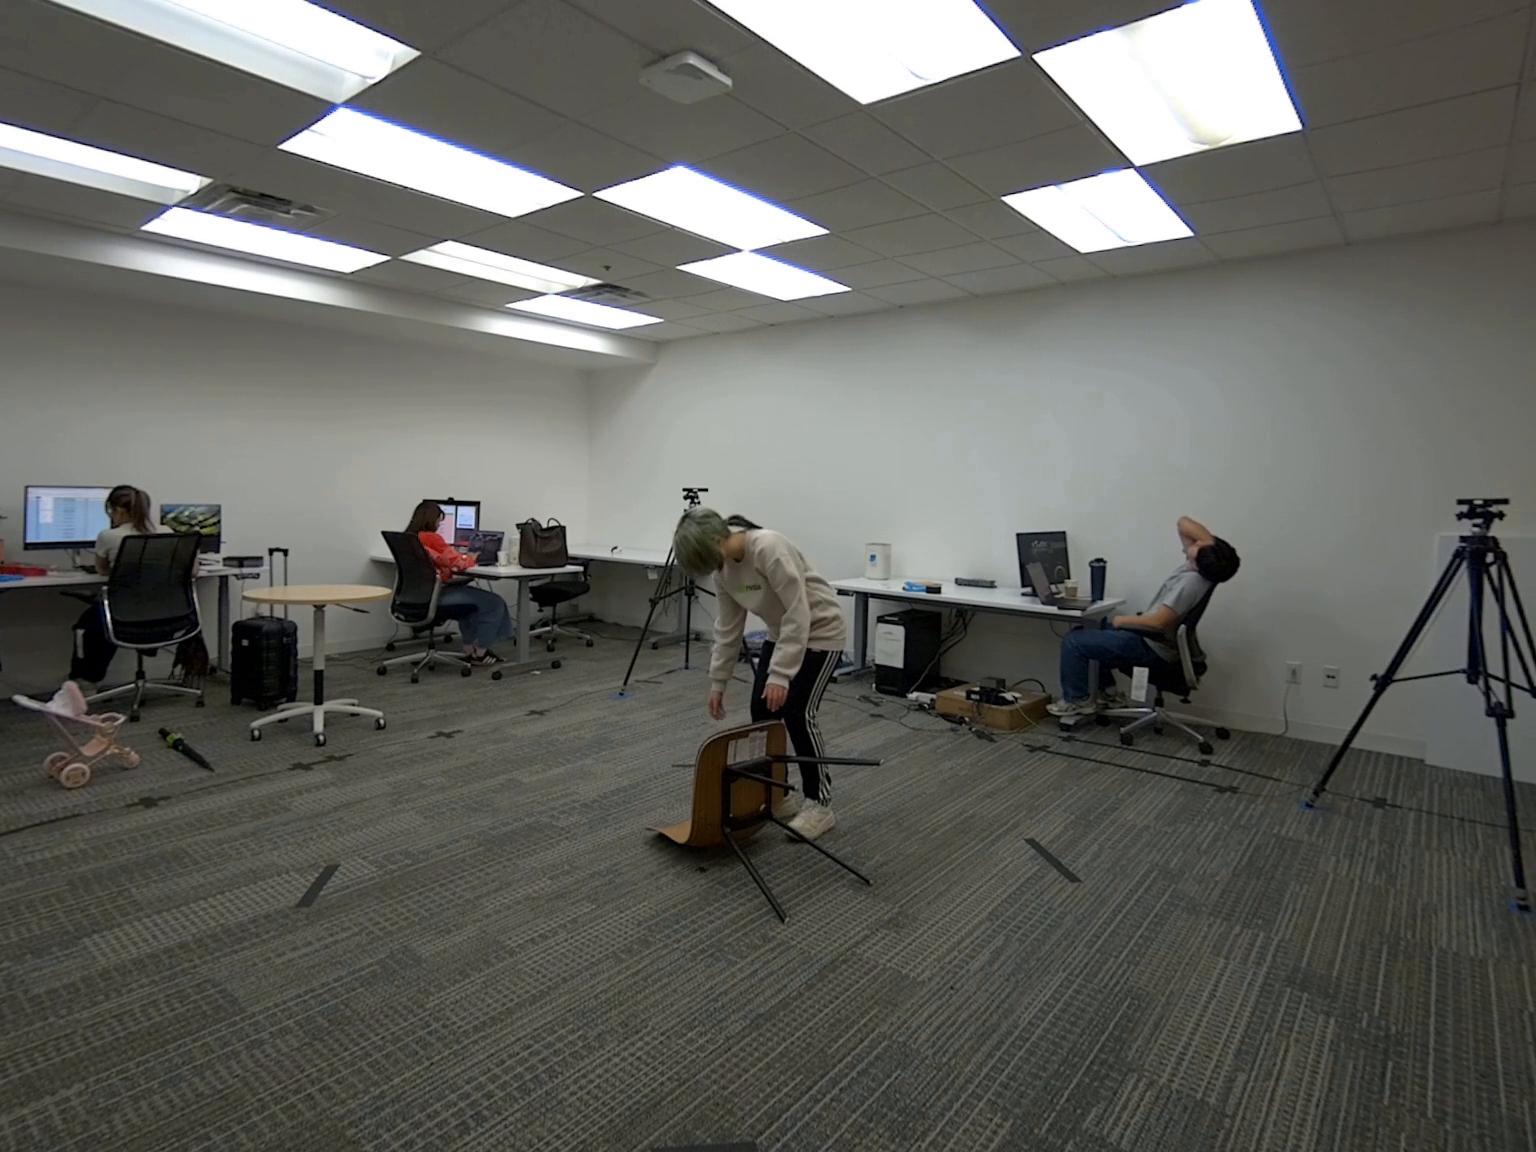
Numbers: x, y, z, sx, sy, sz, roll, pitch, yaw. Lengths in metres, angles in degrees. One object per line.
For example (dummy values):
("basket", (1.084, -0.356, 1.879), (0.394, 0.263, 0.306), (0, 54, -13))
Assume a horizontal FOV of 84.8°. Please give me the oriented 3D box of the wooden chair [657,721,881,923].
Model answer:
("wooden chair", (-0.080, 0.810, 3.161), (0.463, 0.522, 0.907), (-3, 5, -43))
